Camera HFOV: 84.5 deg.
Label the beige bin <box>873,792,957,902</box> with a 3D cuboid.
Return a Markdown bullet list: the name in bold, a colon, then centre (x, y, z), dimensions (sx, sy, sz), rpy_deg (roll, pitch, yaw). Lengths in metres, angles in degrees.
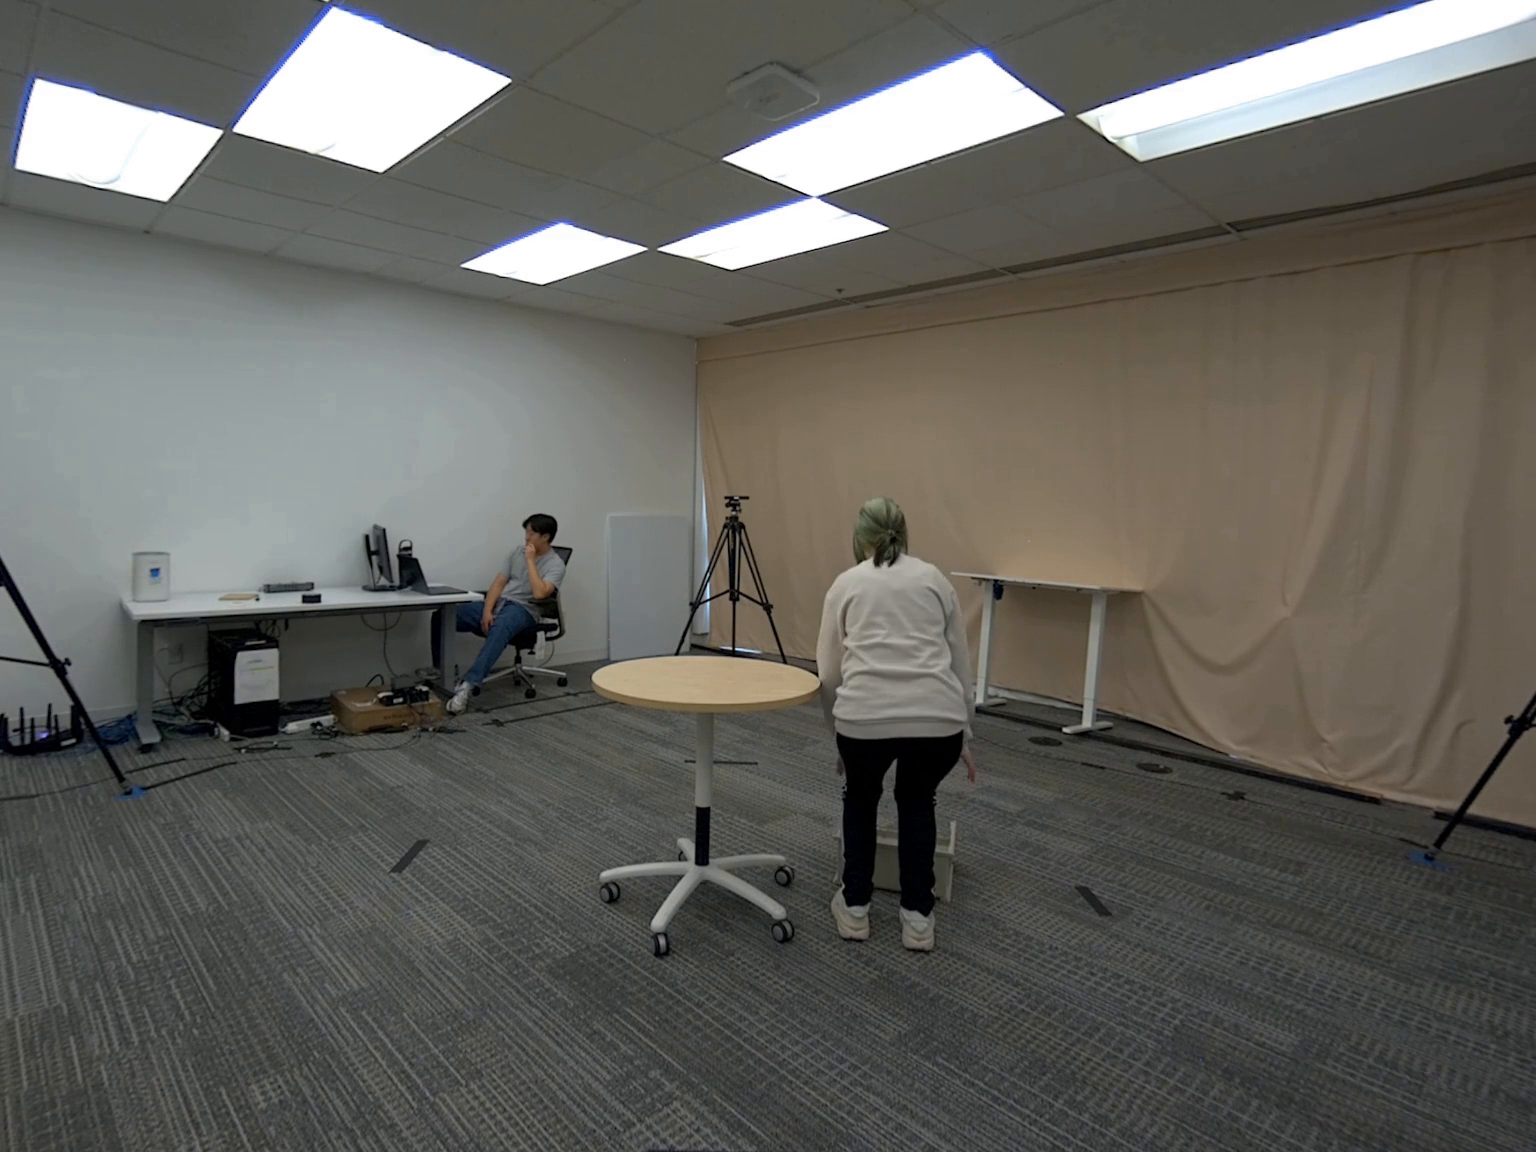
- **beige bin**: centre (0.481, 1.028, 3.158), dimensions (0.428, 0.188, 0.374), rpy_deg (4, 6, 15)
